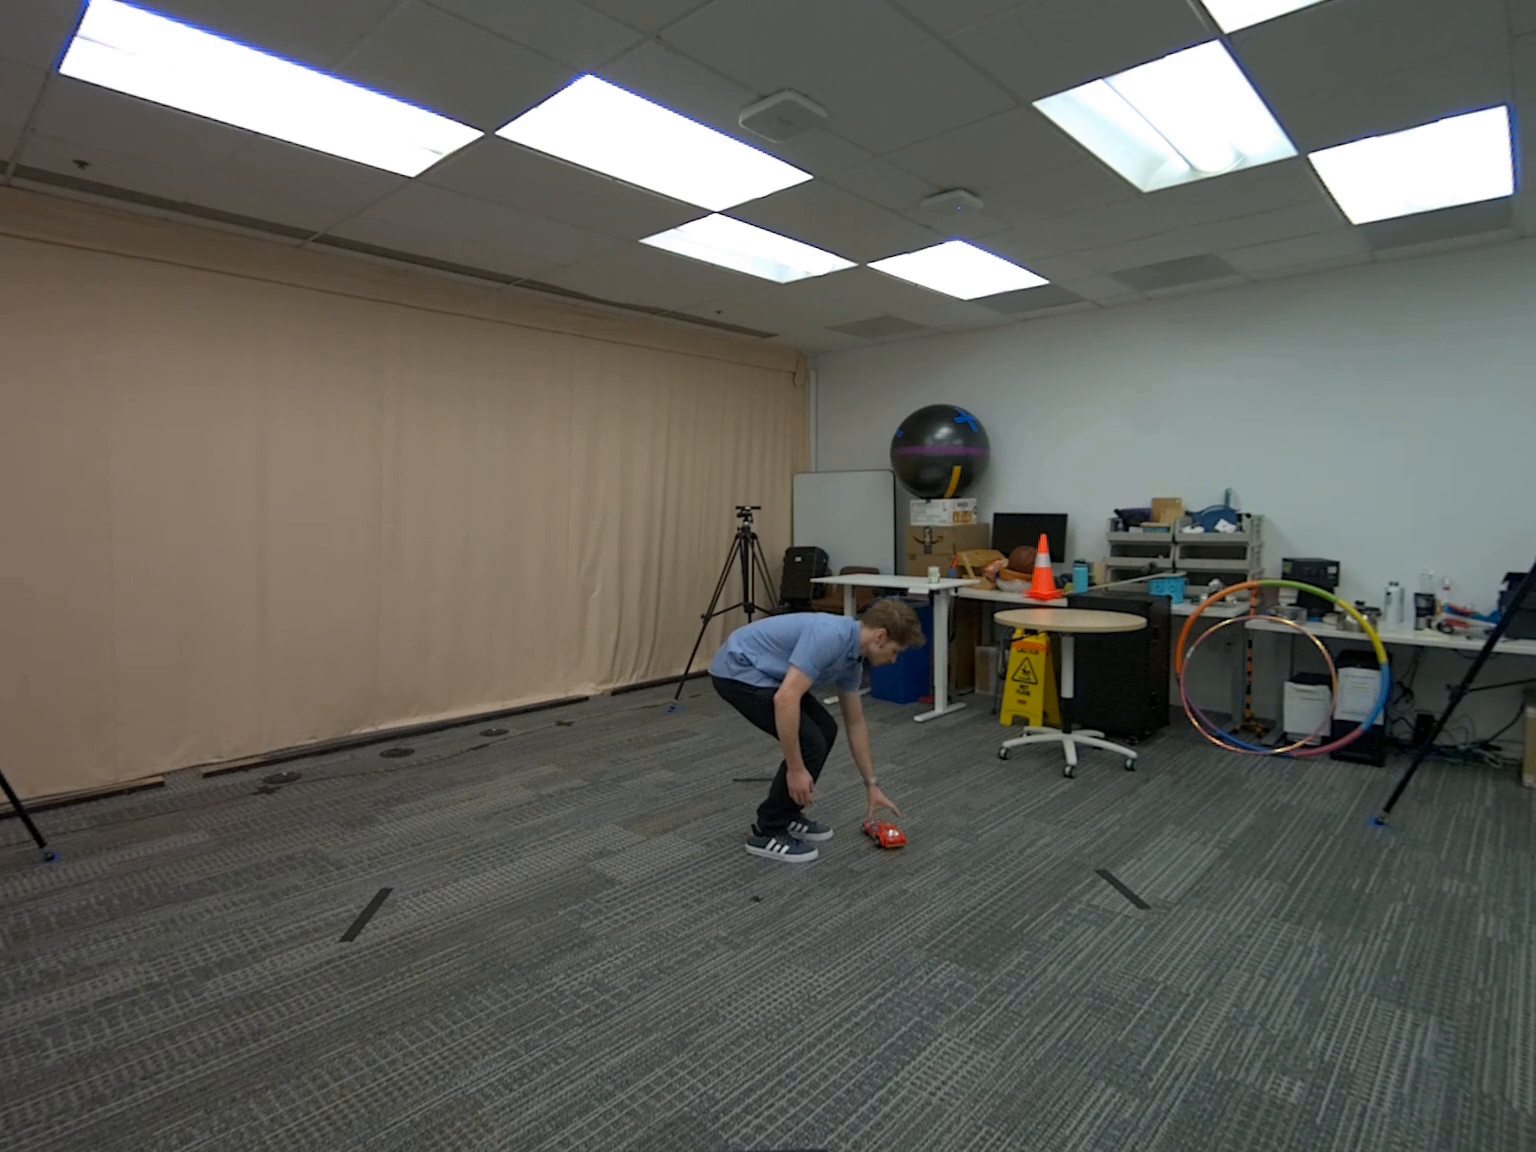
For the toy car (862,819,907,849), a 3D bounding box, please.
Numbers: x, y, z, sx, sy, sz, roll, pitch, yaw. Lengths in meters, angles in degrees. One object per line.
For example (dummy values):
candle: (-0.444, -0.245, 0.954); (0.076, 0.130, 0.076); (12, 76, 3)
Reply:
toy car: (0.486, 1.069, 3.483); (0.128, 0.083, 0.257); (-1, -6, -16)
